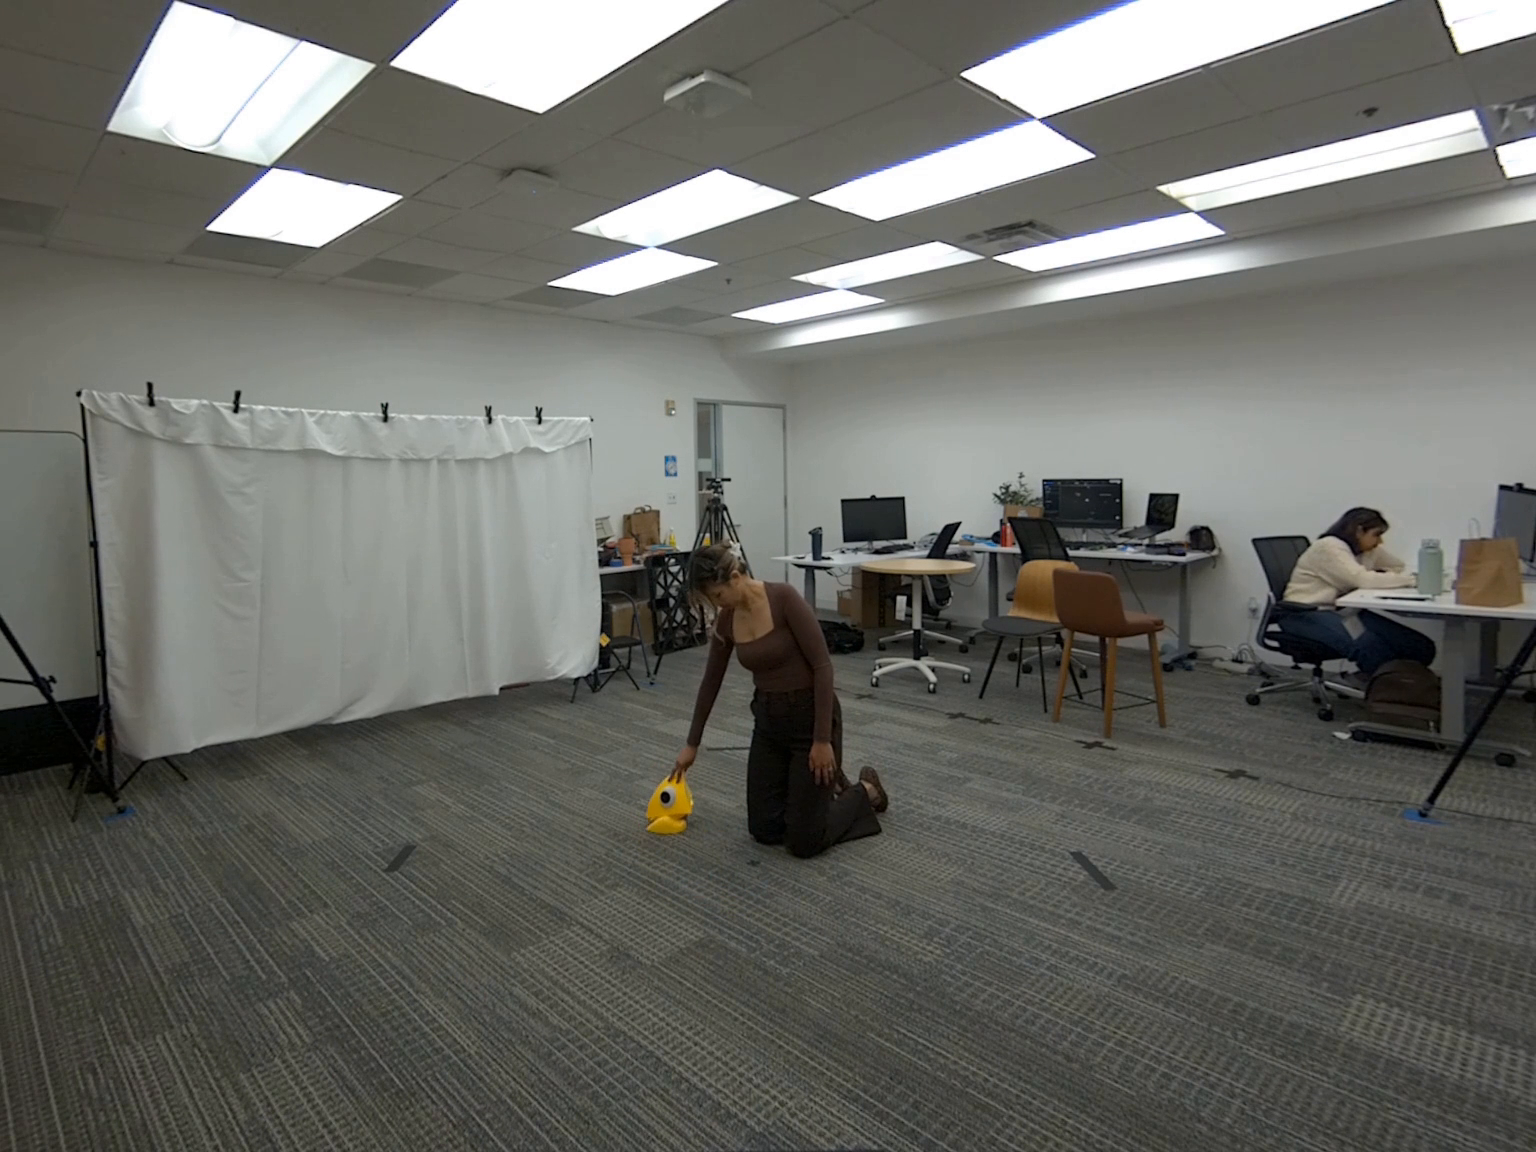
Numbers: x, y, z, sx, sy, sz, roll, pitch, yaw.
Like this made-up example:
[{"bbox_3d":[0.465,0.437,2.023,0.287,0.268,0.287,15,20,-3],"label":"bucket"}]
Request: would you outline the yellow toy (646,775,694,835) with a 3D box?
[{"bbox_3d":[-0.399,0.893,3.470,0.193,0.230,0.206,0,4,-2],"label":"yellow toy"}]
